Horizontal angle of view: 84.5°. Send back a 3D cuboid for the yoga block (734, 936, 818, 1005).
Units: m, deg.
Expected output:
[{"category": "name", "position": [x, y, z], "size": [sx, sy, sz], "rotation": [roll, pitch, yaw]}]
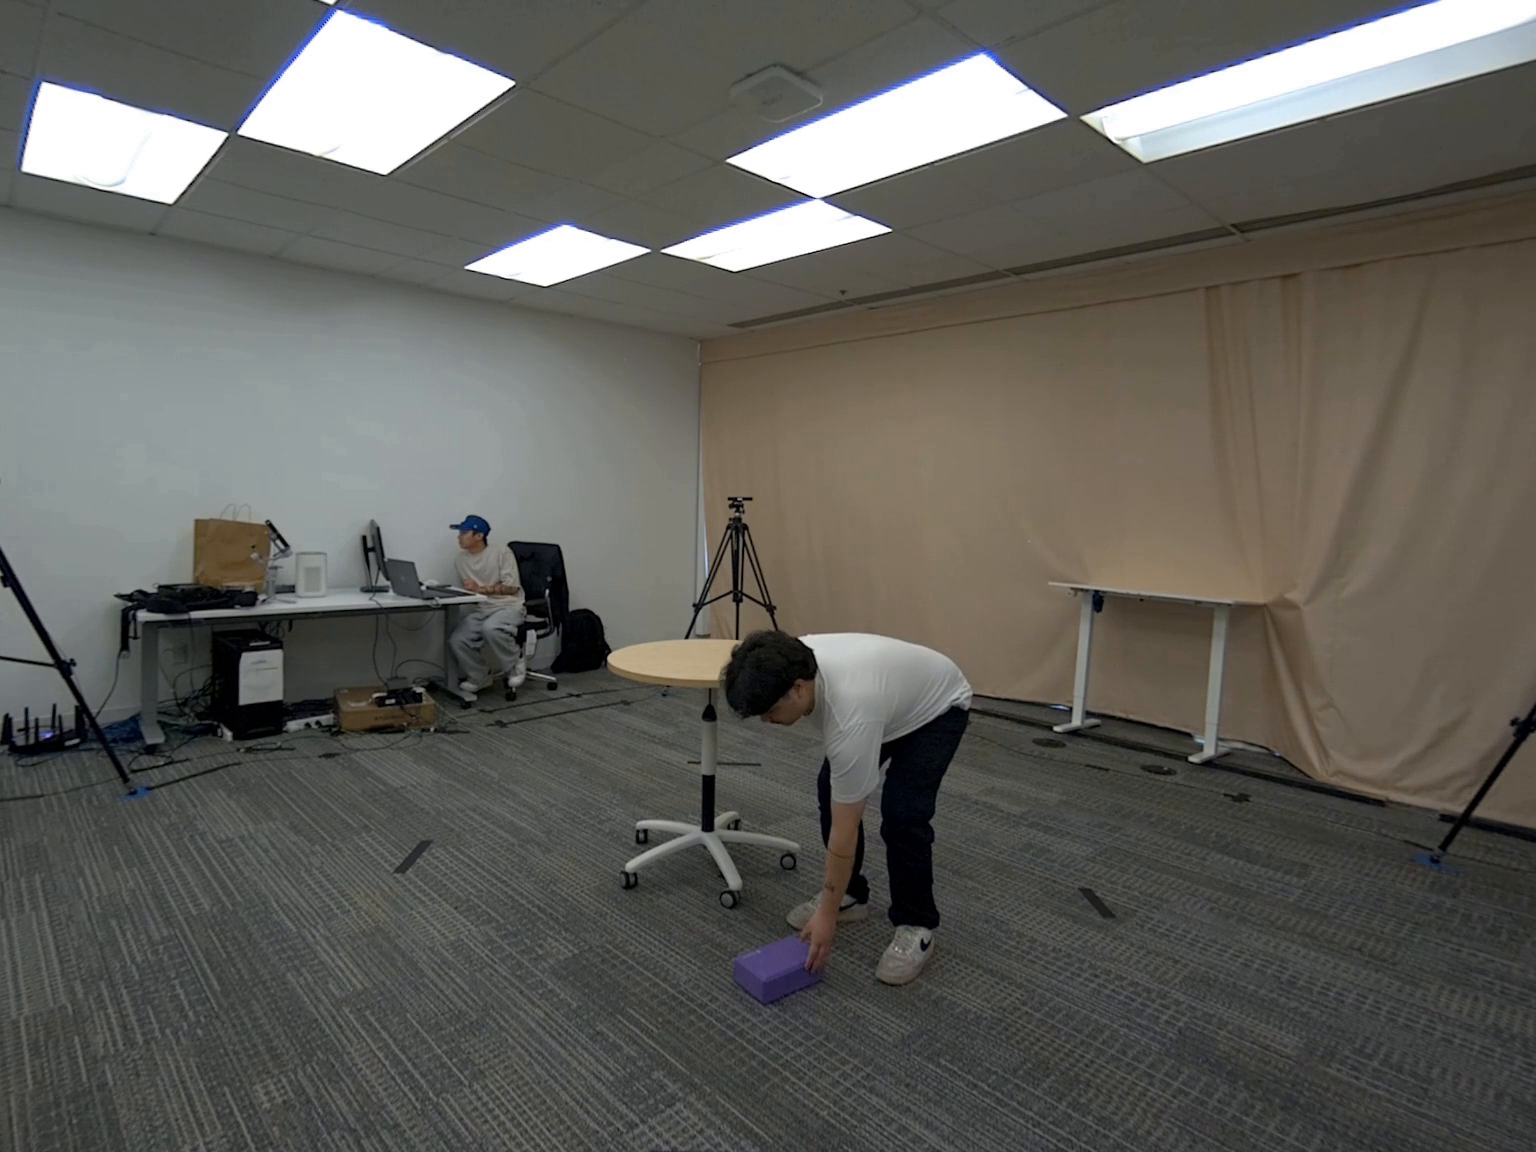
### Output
[{"category": "yoga block", "position": [0.029, 1.131, 2.432], "size": [0.224, 0.076, 0.153], "rotation": [-4, 7, -38]}]
